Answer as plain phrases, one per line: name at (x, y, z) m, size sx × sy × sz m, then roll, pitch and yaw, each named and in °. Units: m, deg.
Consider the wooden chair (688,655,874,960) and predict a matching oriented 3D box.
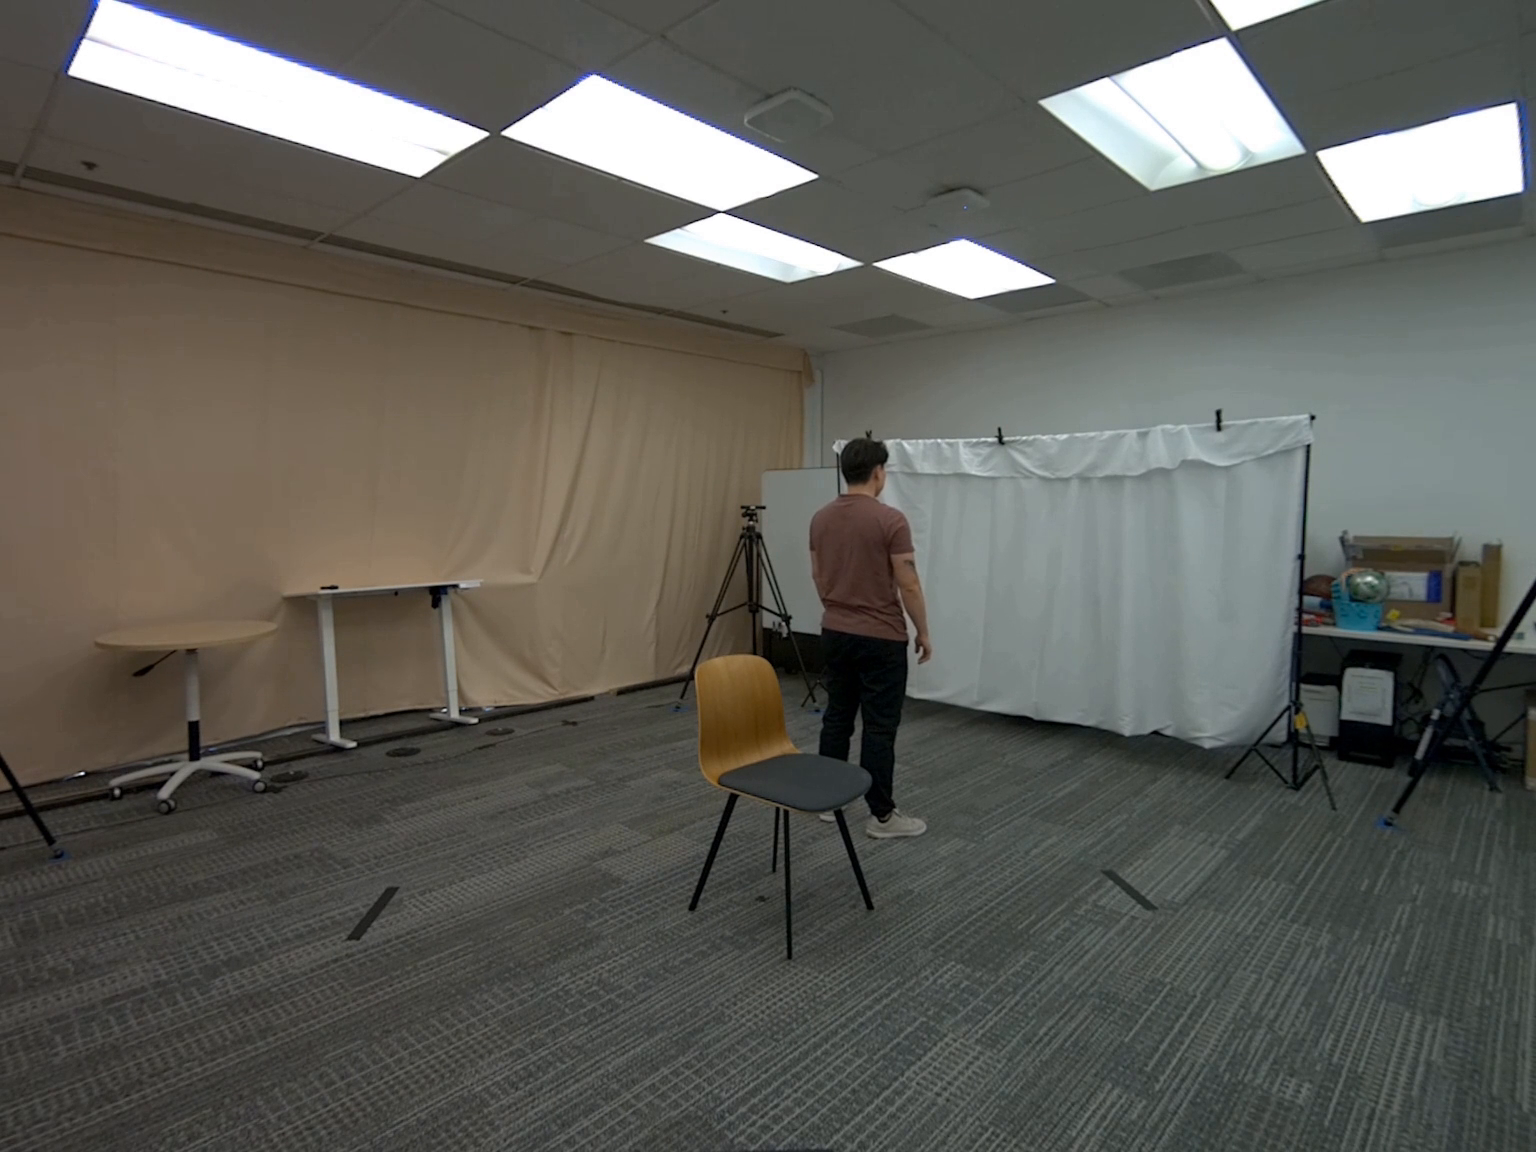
wooden chair at (0.053, 0.727, 2.860) m, size 0.539 × 0.877 × 0.463 m, roll -3°, pitch 0°, yaw 43°
